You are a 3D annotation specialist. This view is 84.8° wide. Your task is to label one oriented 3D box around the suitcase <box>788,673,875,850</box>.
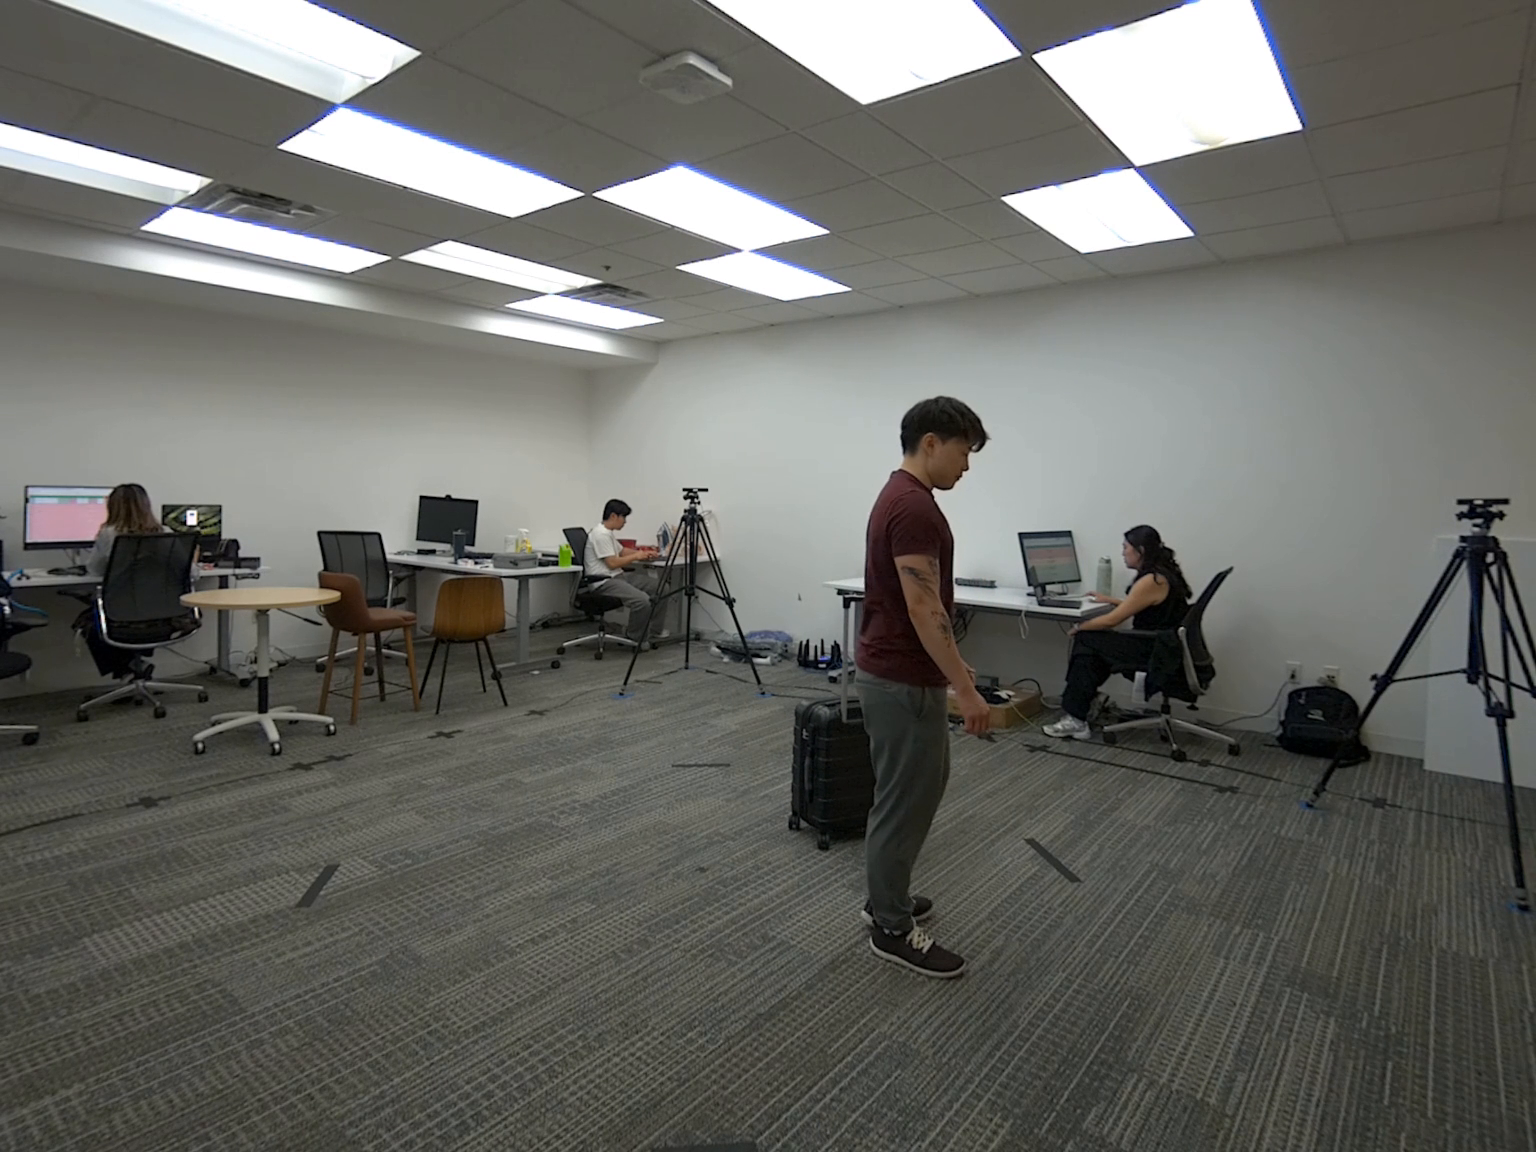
[{"bbox_3d":[0.292,0.567,3.482,0.375,0.979,0.263,1,0,-25],"label":"suitcase"}]
